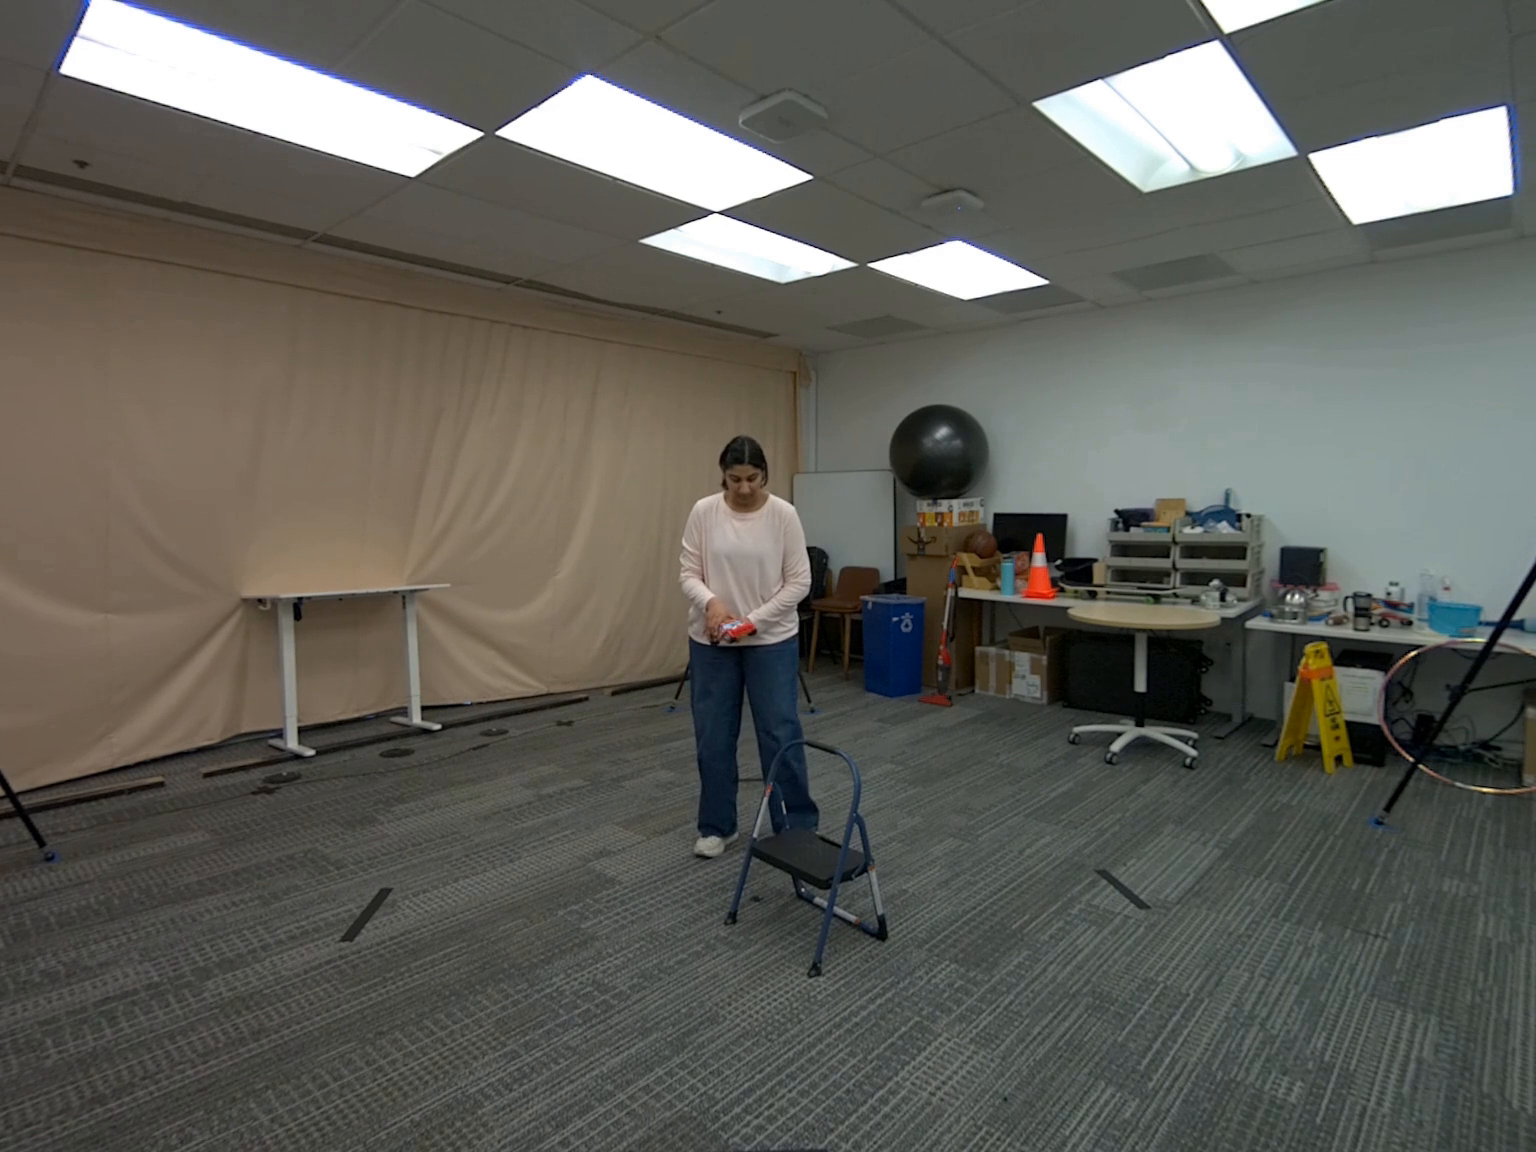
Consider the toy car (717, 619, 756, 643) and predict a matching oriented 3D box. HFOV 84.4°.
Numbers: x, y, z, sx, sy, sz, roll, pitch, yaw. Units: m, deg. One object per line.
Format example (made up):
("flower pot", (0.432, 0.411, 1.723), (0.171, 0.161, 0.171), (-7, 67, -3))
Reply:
("toy car", (-0.136, 0.211, 3.075), (0.128, 0.082, 0.261), (-19, 10, -25))
